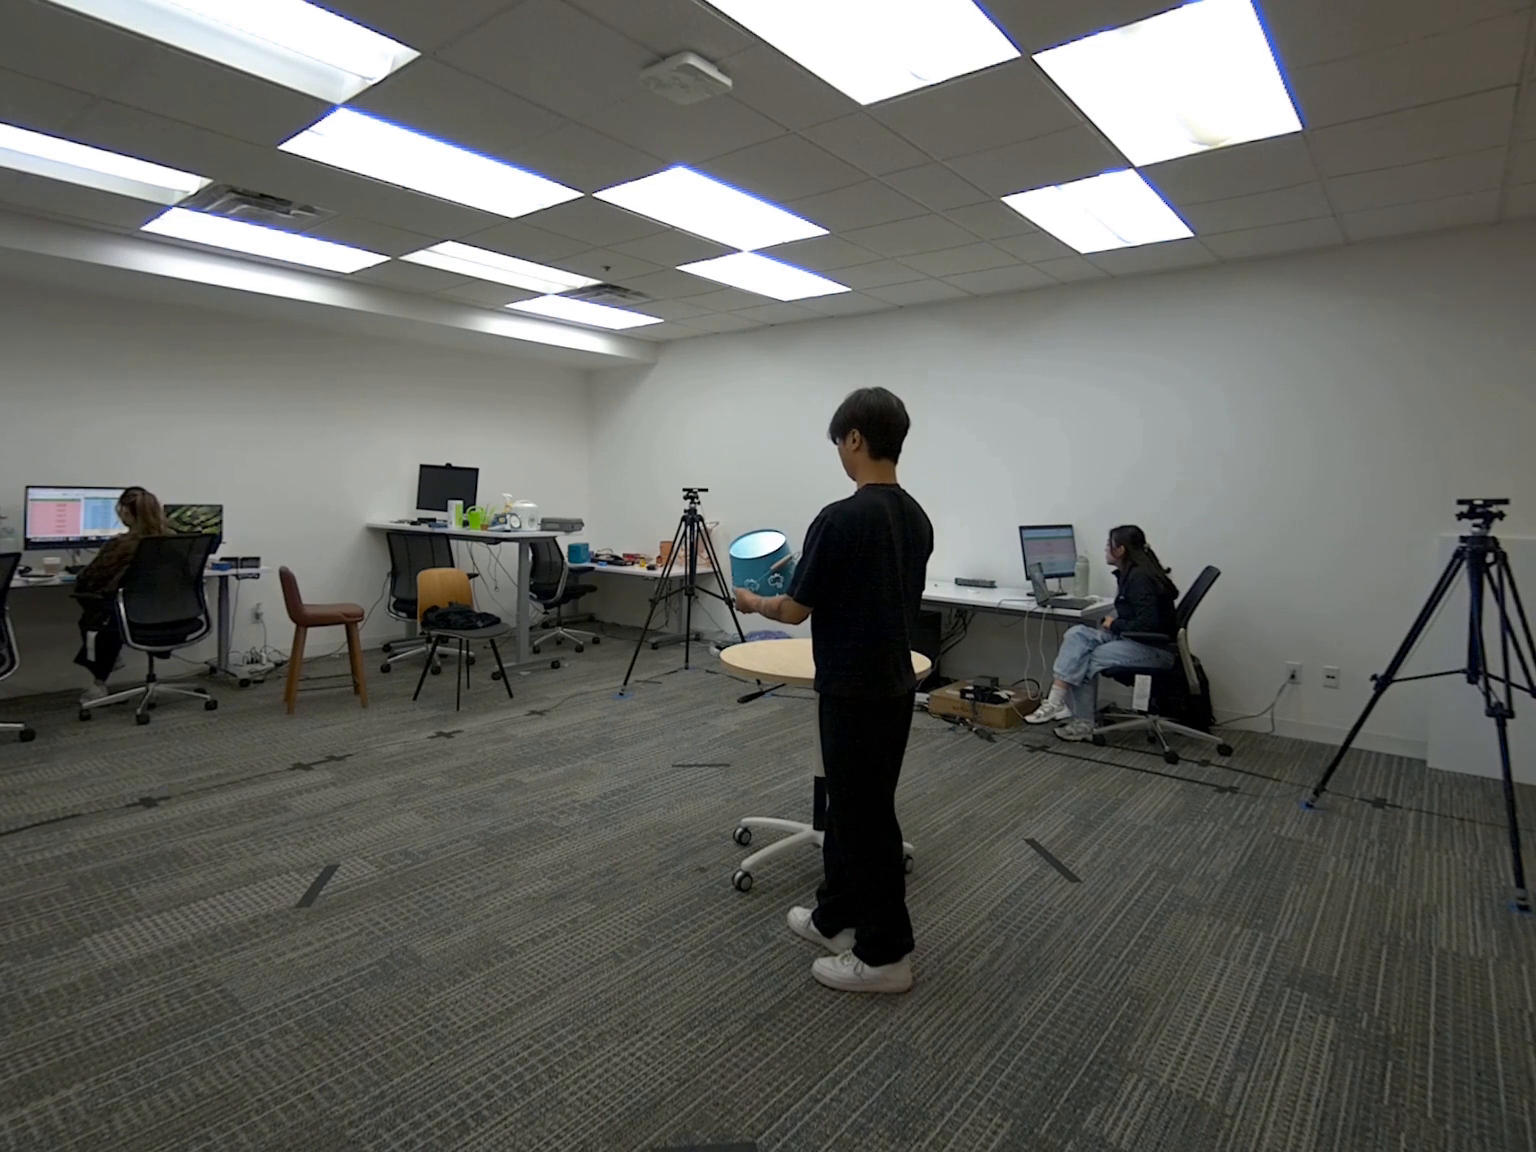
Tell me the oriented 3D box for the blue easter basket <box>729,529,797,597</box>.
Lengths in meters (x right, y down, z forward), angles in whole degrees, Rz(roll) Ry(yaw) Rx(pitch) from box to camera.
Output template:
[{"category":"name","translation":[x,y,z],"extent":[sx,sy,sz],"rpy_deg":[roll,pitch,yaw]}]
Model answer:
[{"category":"blue easter basket","translation":[-0.011,-0.038,2.673],"extent":[0.245,0.151,0.249],"rpy_deg":[-13,27,5]}]
